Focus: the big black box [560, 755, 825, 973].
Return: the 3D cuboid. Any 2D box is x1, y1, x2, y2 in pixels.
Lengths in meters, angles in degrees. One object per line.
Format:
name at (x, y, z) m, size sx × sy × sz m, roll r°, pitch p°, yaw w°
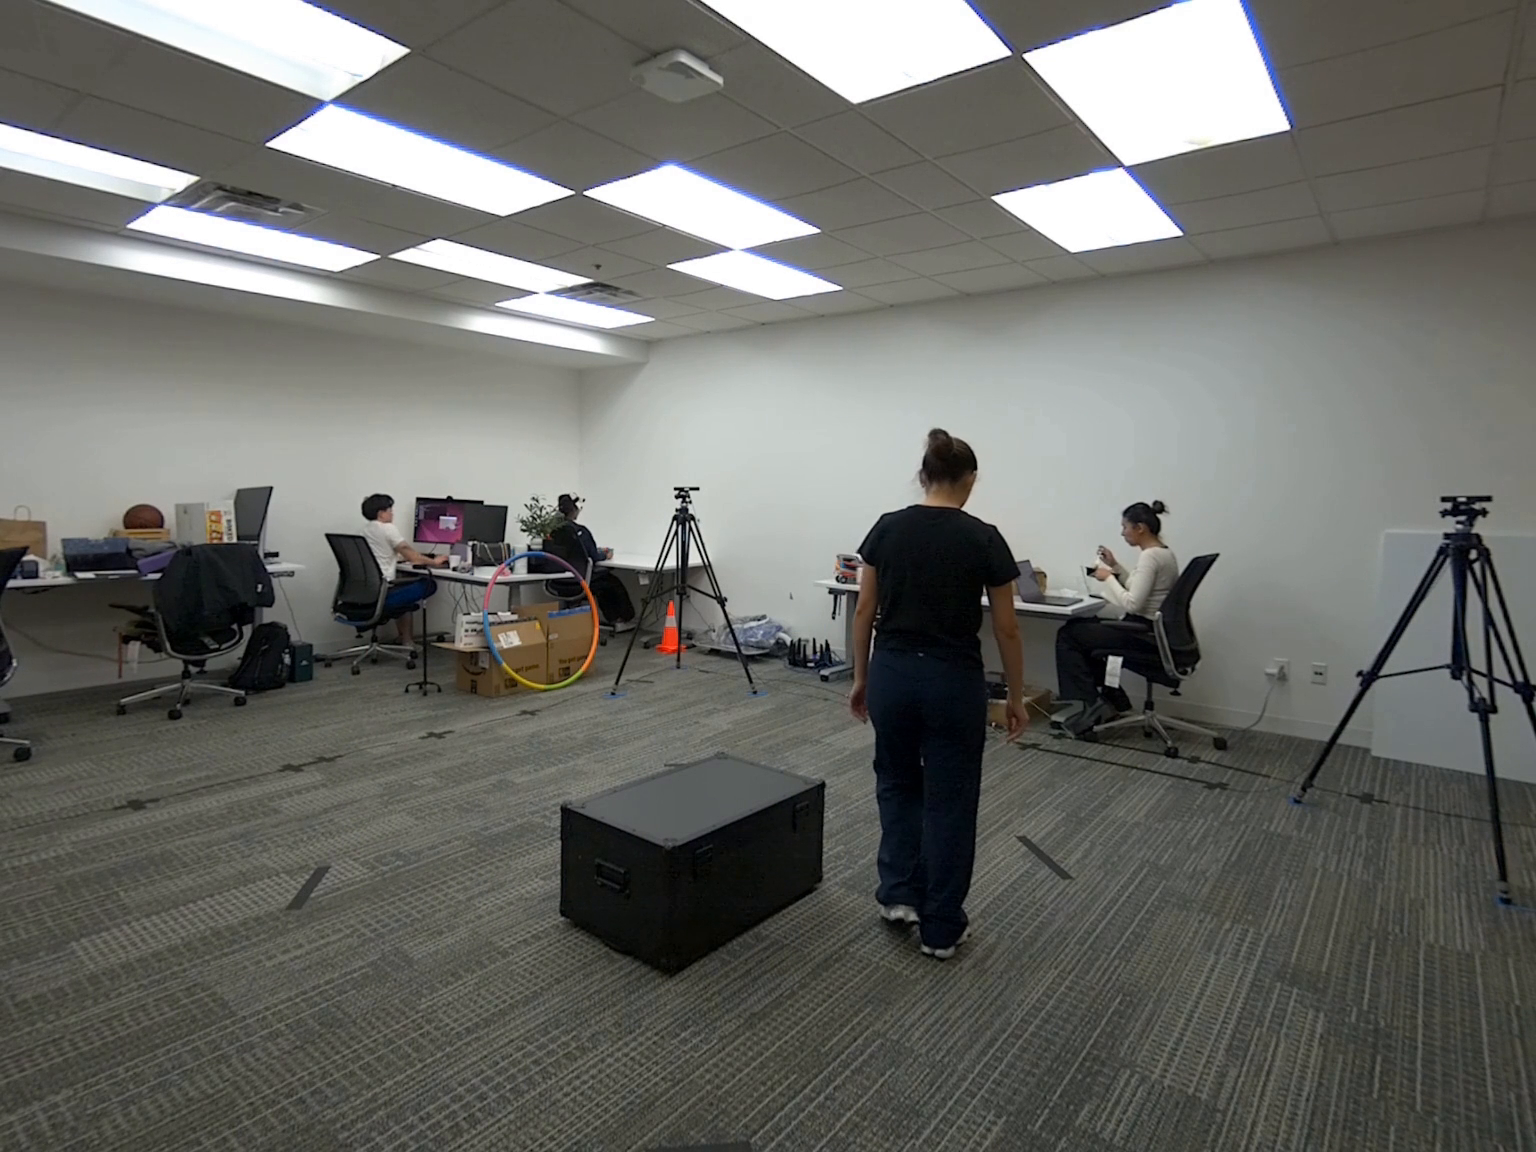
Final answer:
big black box at (-0.200, 0.901, 2.864) m, size 0.539 × 0.395 × 0.836 m, roll 5°, pitch 7°, yaw 39°
